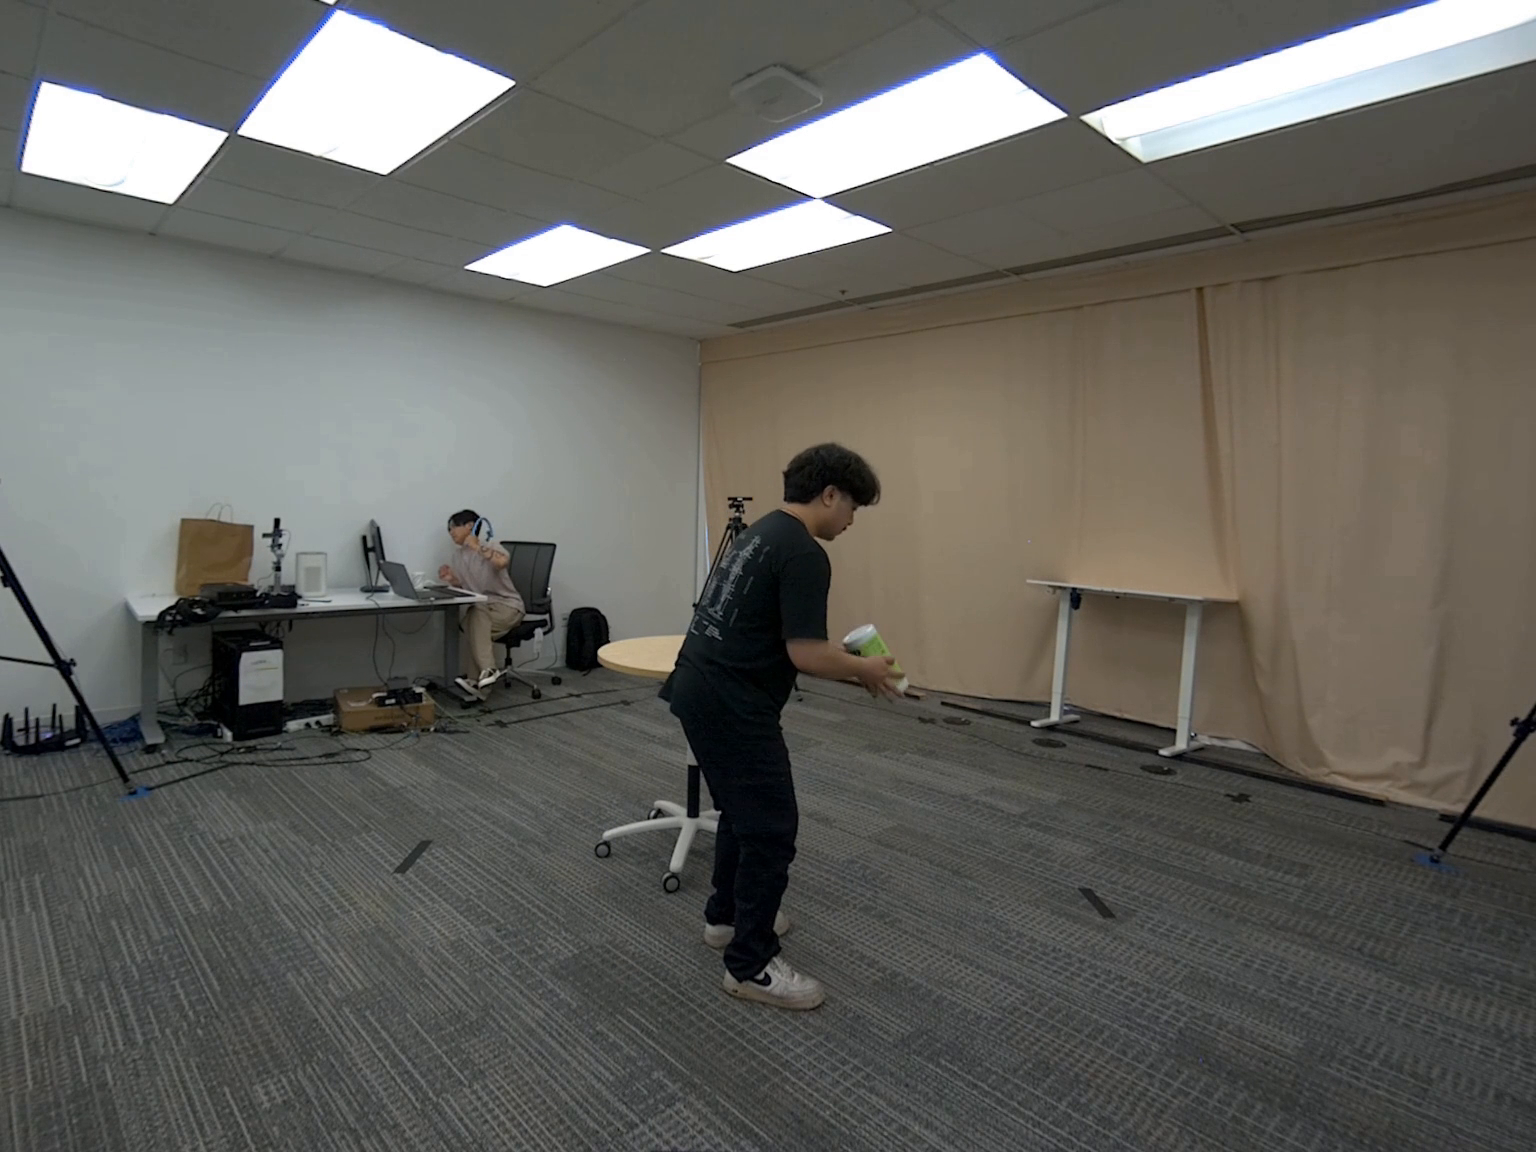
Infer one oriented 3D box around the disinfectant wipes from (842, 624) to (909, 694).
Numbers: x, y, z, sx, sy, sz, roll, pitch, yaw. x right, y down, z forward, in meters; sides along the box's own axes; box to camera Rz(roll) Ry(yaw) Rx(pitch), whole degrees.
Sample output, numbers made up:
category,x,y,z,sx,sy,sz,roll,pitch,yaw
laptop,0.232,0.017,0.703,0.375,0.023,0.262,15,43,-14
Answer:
category,x,y,z,sx,sy,sz,roll,pitch,yaw
disinfectant wipes,0.324,0.261,2.527,0.118,0.217,0.118,-30,4,1
